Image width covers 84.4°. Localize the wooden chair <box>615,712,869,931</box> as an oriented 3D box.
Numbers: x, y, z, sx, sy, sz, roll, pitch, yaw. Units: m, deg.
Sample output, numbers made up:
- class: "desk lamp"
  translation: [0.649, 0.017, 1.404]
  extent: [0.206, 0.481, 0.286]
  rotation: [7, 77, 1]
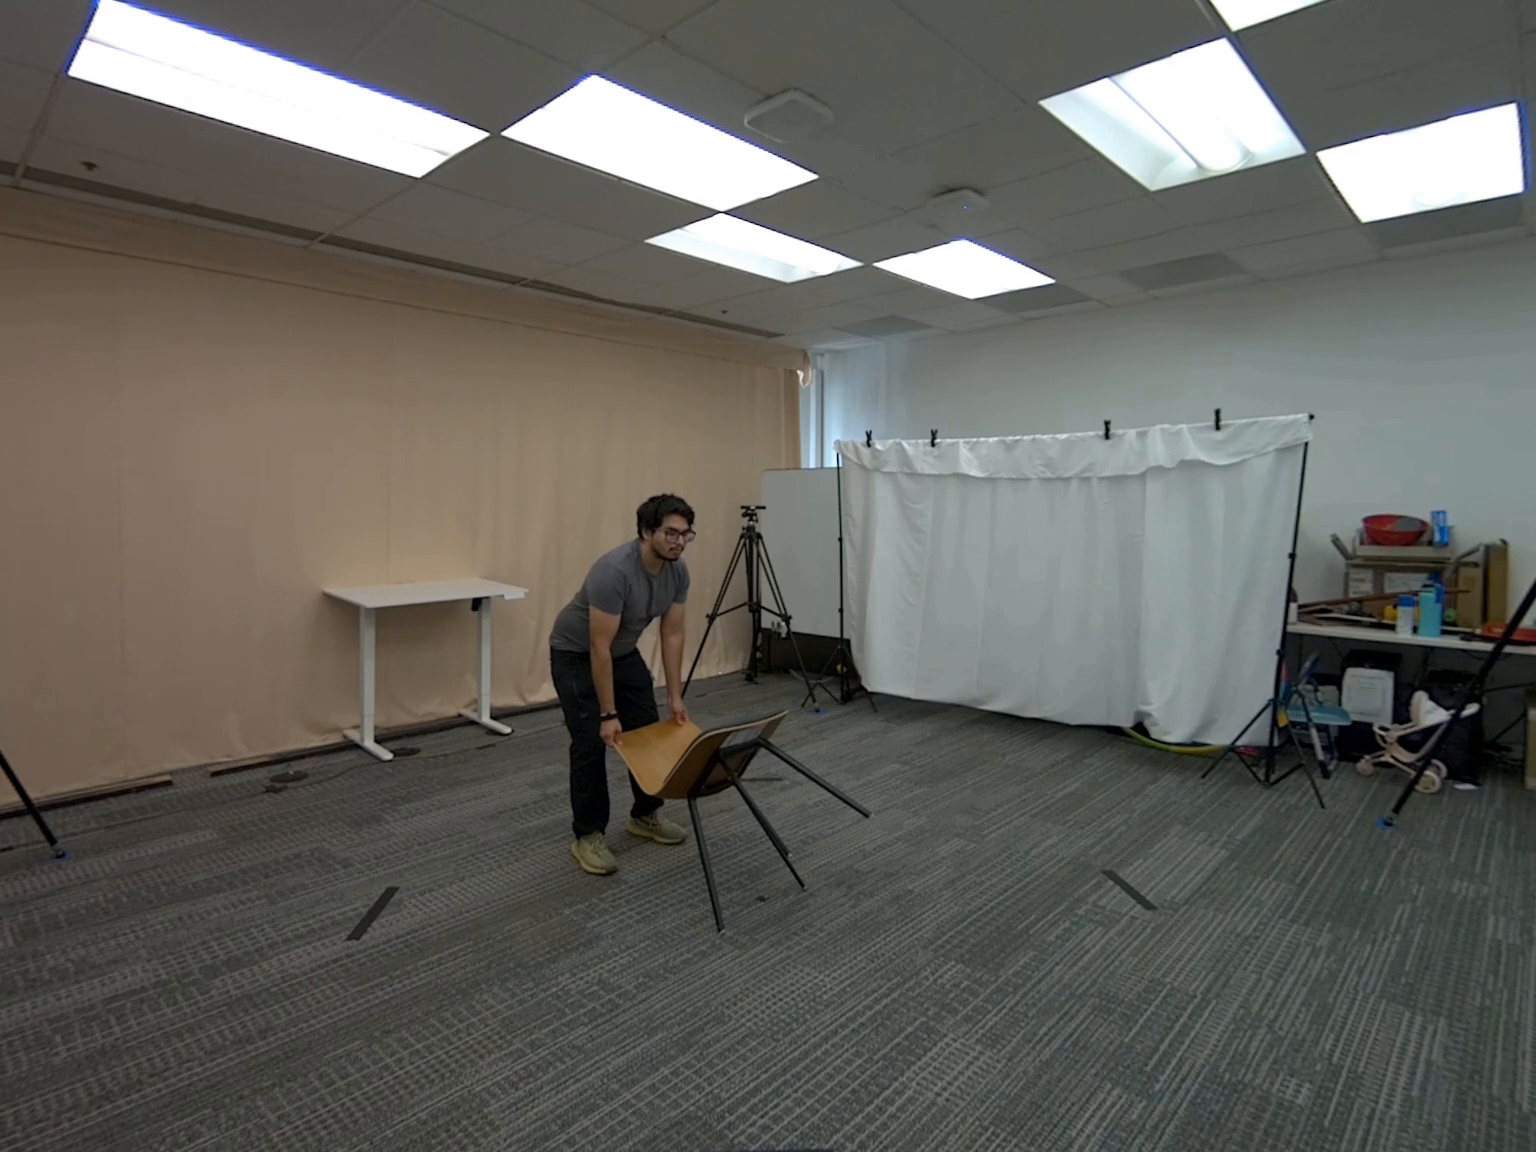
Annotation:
- class: "wooden chair"
  translation: [-0.143, 0.688, 2.993]
  extent: [0.463, 0.522, 0.905]
  rotation: [-4, 42, -47]
